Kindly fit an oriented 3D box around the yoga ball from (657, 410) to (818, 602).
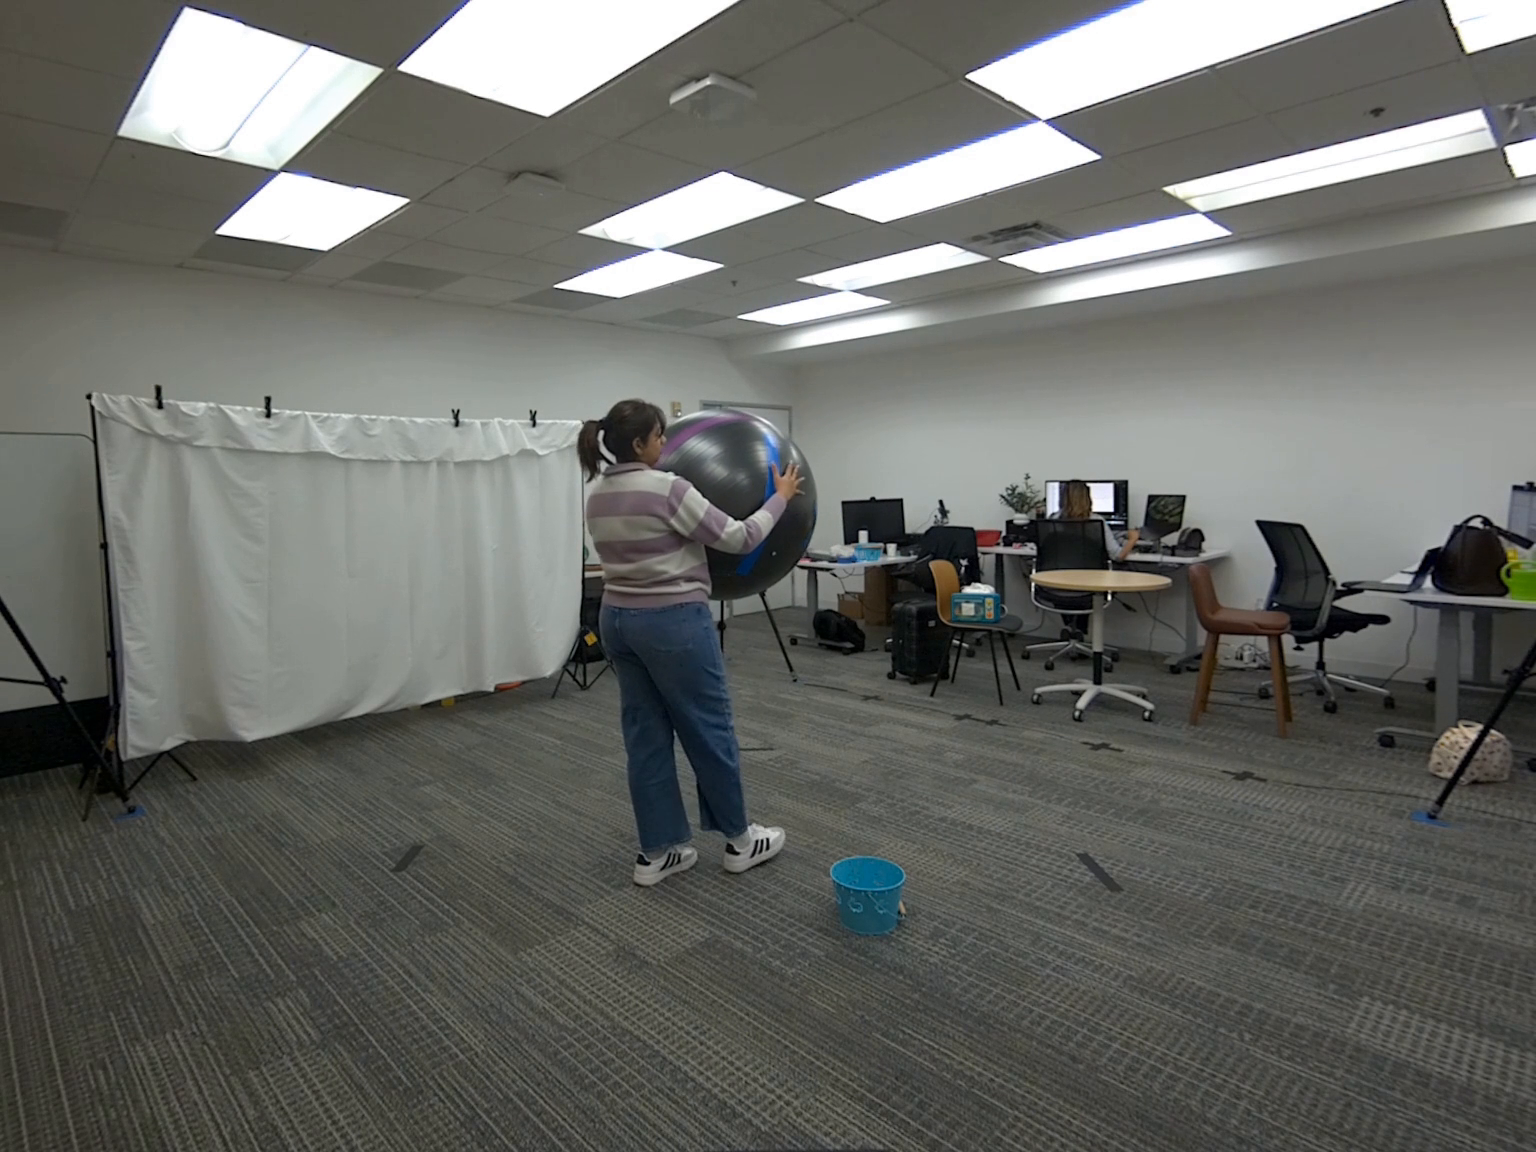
[{"bbox_3d":[-0.187,-0.276,3.389,0.757,0.755,0.762,-1,5,-2],"label":"yoga ball"}]
